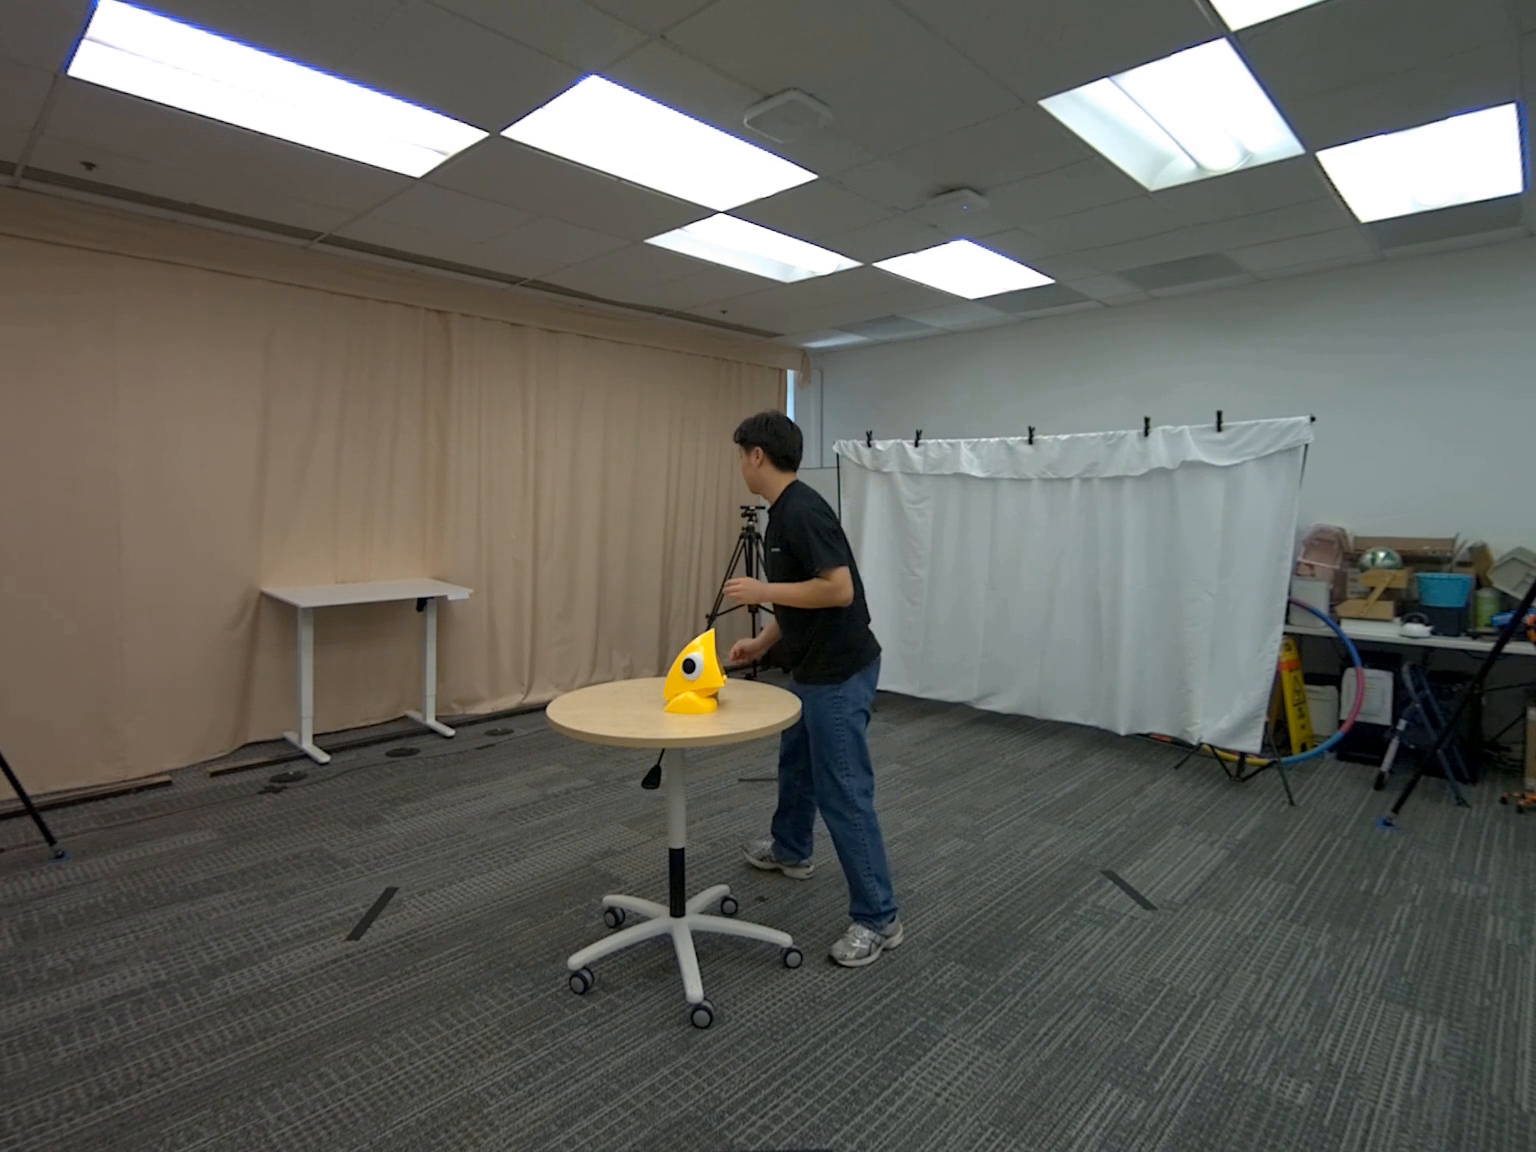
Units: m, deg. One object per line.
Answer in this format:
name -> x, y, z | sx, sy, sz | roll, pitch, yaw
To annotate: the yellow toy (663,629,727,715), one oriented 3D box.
yellow toy -> -0.219, 0.273, 2.509 | 0.193, 0.230, 0.205 | 0, 3, -1
